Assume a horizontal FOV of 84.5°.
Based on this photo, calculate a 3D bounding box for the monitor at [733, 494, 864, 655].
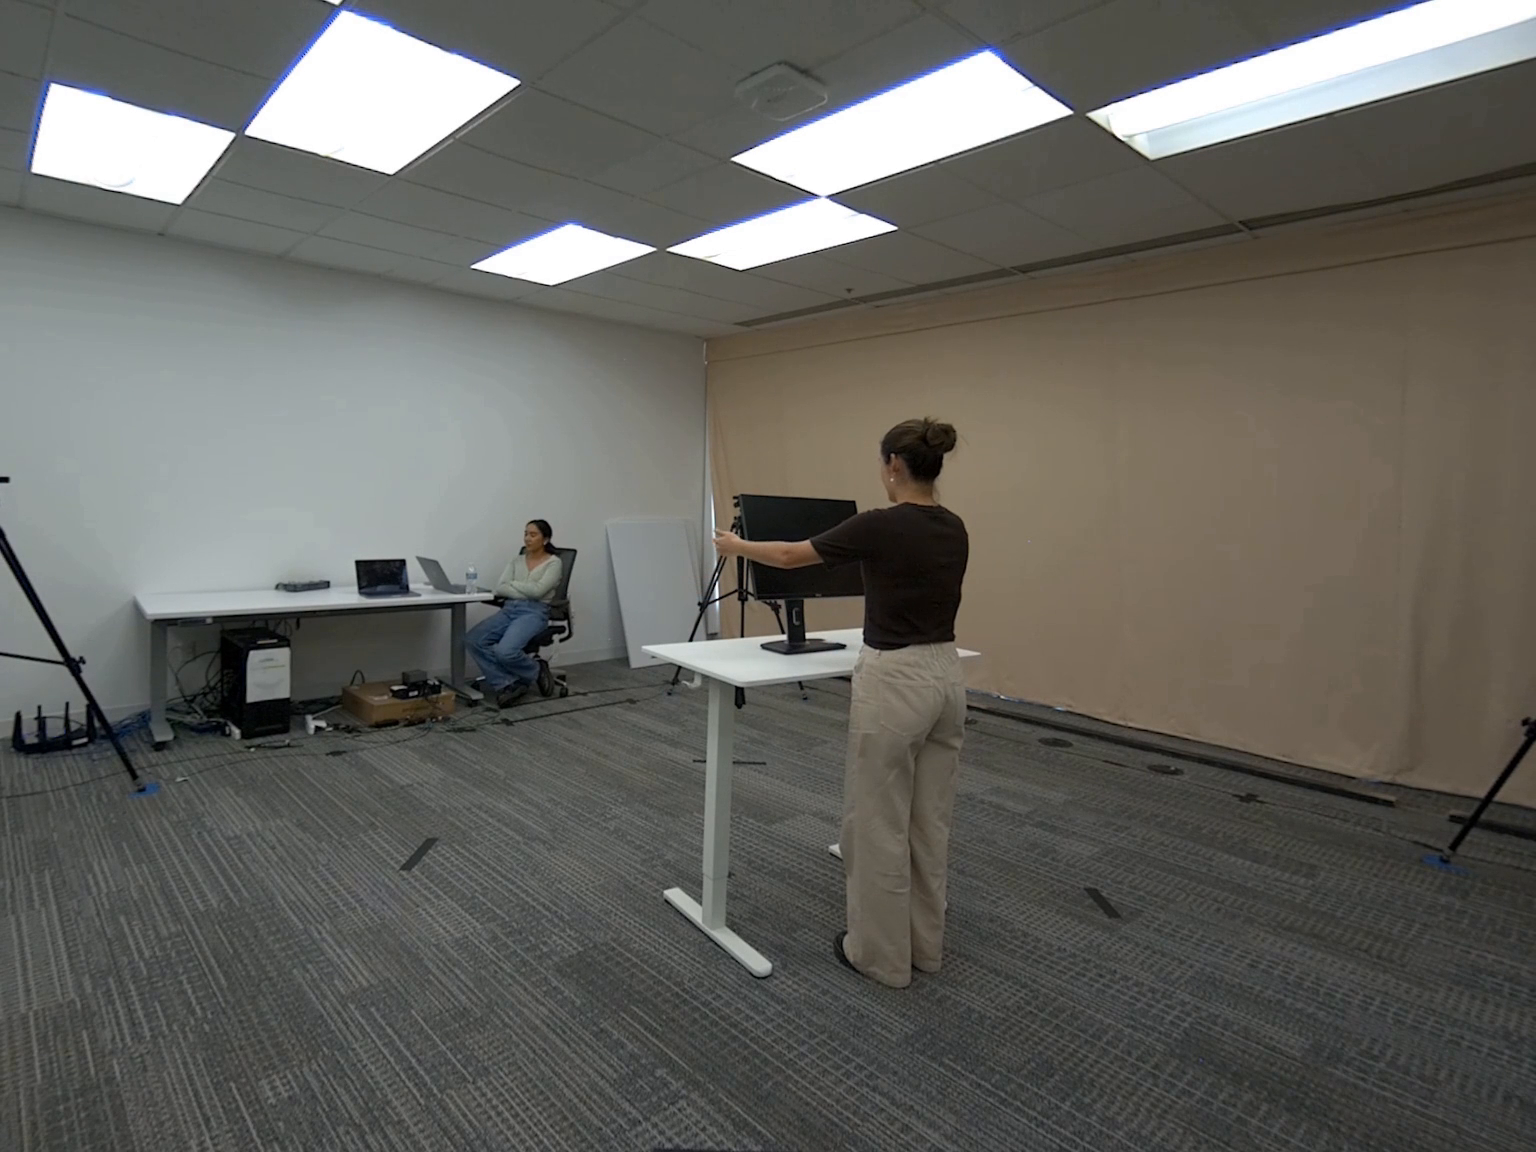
[{"bbox_3d":[0.112,-0.006,2.868,0.526,0.523,0.191,0,0,-42],"label":"monitor"}]
